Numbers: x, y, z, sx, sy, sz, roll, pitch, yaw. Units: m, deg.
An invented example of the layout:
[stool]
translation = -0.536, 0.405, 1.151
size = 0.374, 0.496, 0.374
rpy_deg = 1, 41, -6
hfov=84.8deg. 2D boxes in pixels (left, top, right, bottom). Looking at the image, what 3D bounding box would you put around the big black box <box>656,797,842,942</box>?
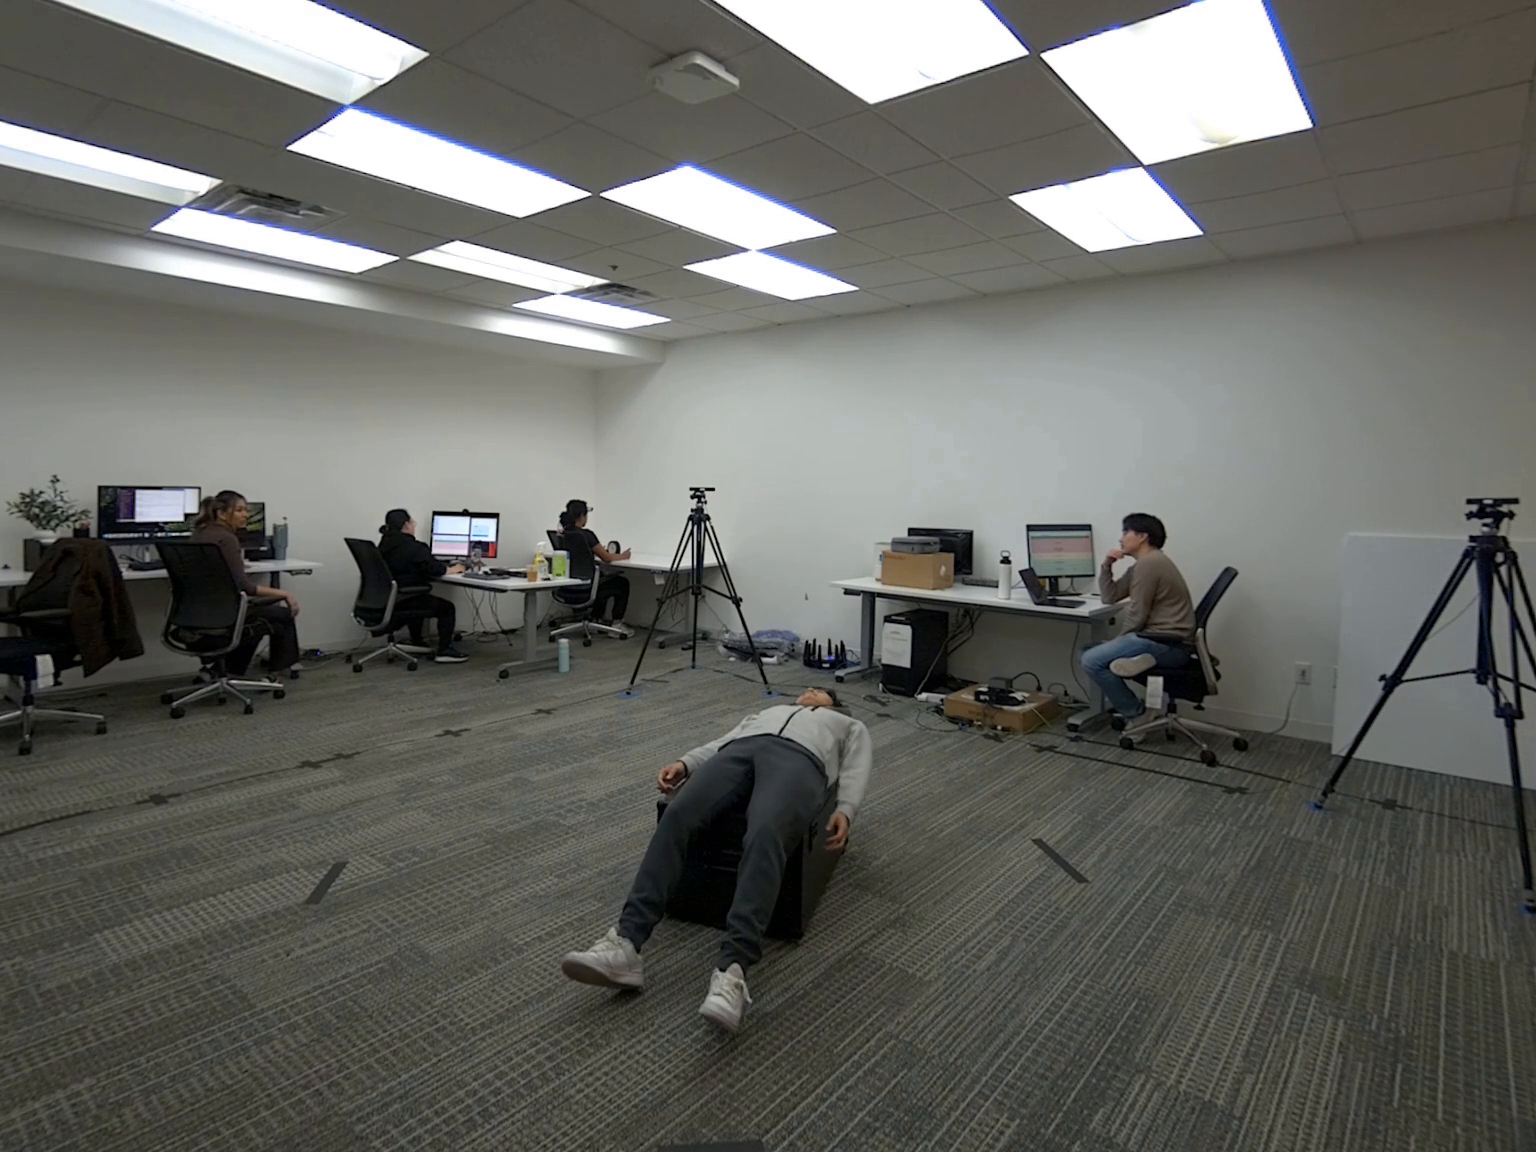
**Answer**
[big black box]
translation = -0.042, 0.893, 2.992
size = 0.532, 0.395, 0.847
rpy_deg = 2, 5, 17
